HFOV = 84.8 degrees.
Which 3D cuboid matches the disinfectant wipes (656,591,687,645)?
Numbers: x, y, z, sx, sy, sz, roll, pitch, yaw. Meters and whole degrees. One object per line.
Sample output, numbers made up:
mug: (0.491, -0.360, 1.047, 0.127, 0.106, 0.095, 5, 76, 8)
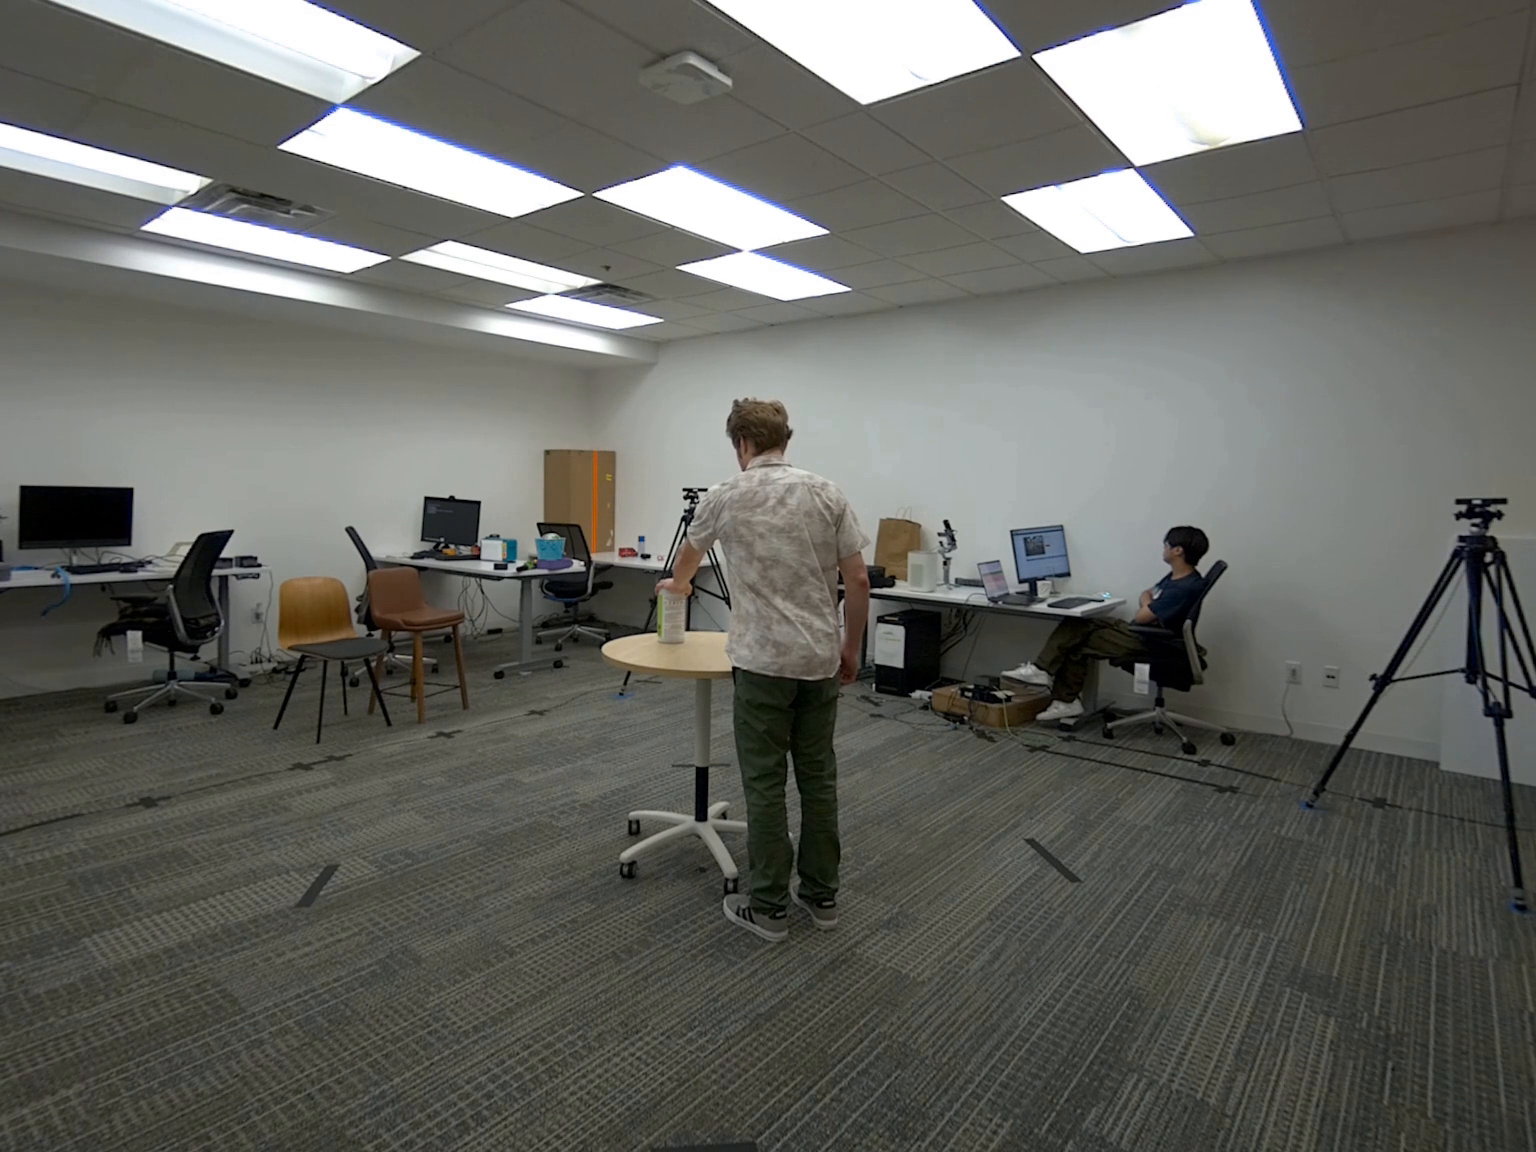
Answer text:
disinfectant wipes: (-0.384, 0.147, 3.321, 0.118, 0.217, 0.118, 0, 4, -2)
